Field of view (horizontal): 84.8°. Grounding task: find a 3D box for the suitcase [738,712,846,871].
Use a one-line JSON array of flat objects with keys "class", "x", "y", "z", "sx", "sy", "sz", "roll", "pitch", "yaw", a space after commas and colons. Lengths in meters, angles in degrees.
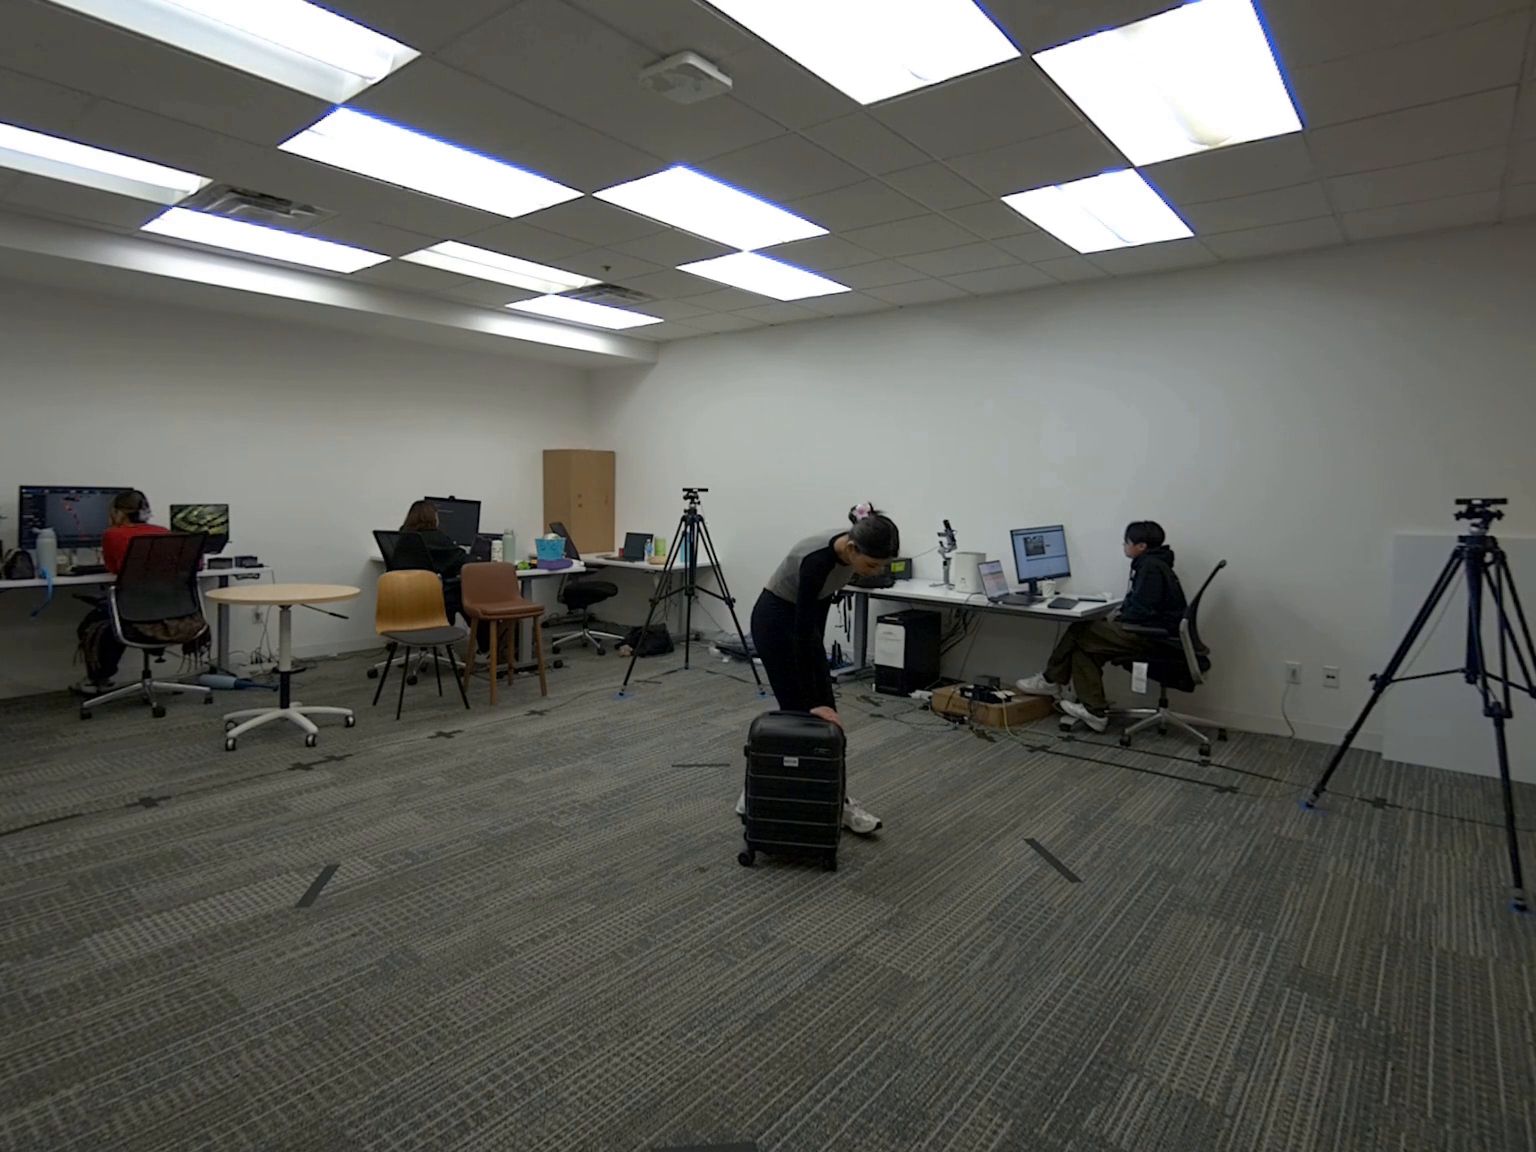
[{"class": "suitcase", "x": 0.093, "y": 0.788, "z": 3.212, "sx": 0.379, "sy": 0.546, "sz": 0.247, "roll": 3, "pitch": 6, "yaw": 8}]
